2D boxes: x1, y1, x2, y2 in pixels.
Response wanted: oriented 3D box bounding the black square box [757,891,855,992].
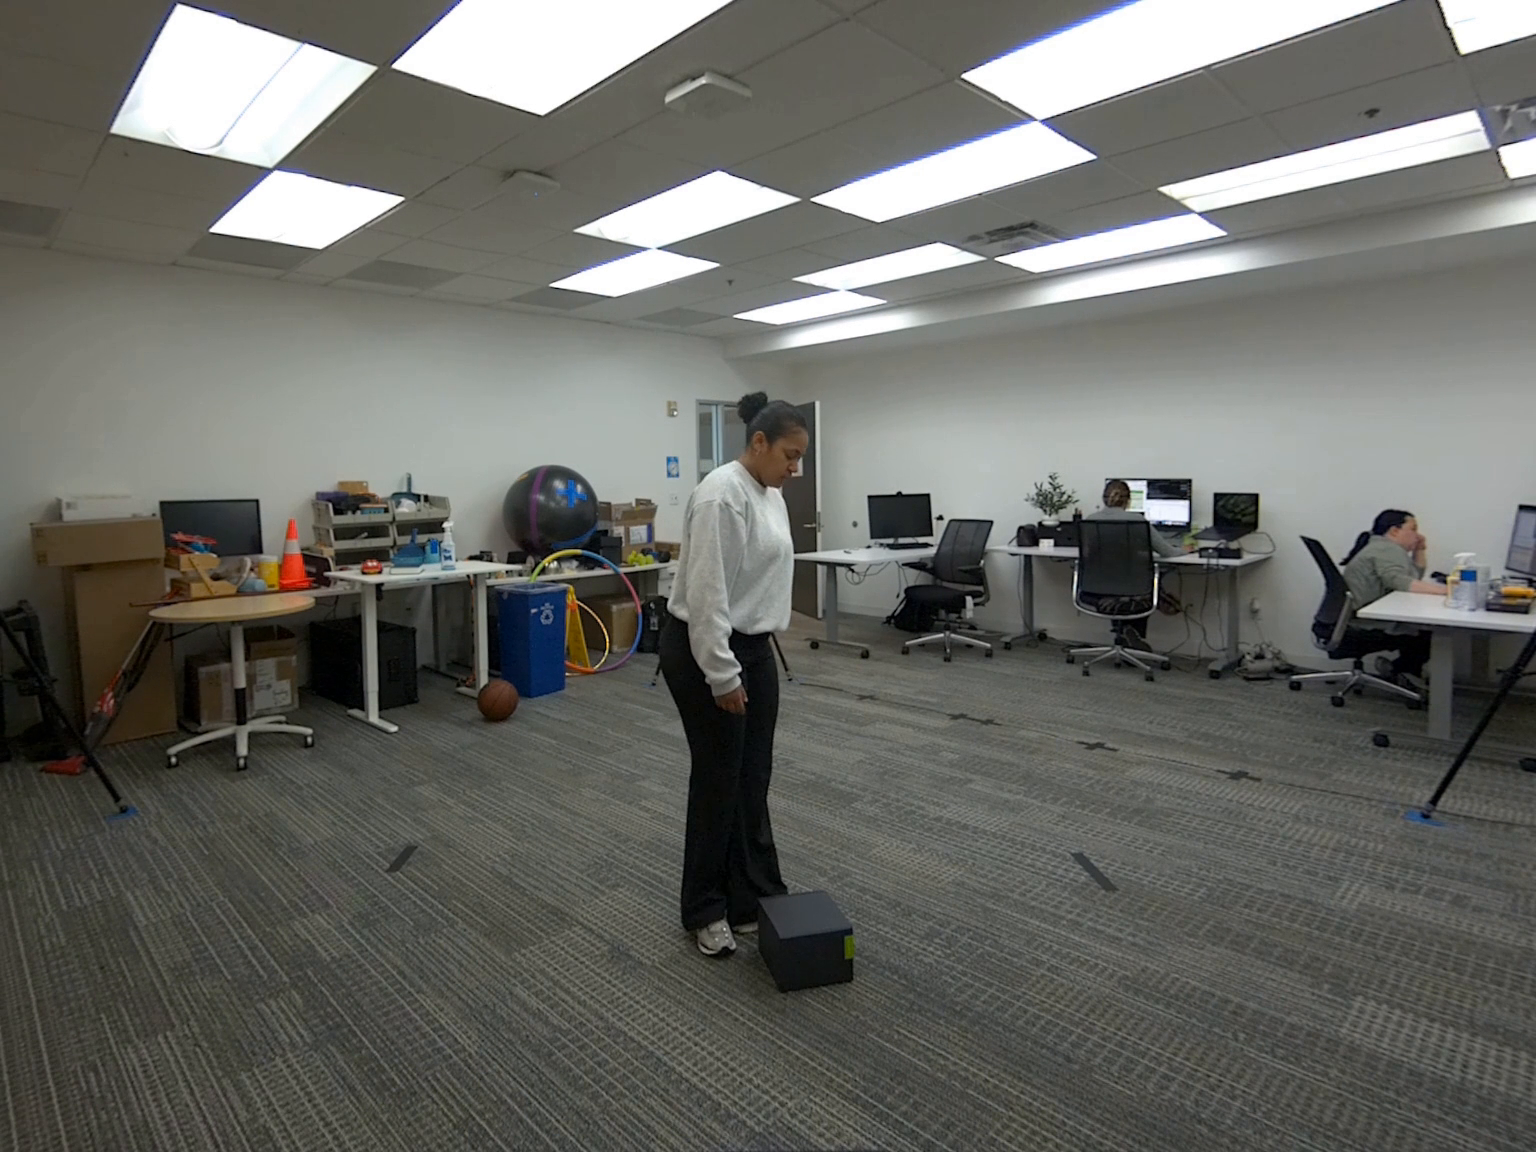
[{"bbox_3d":[0.109,1.029,2.450,0.214,0.155,0.232,-2,5,-16],"label":"black square box"}]
